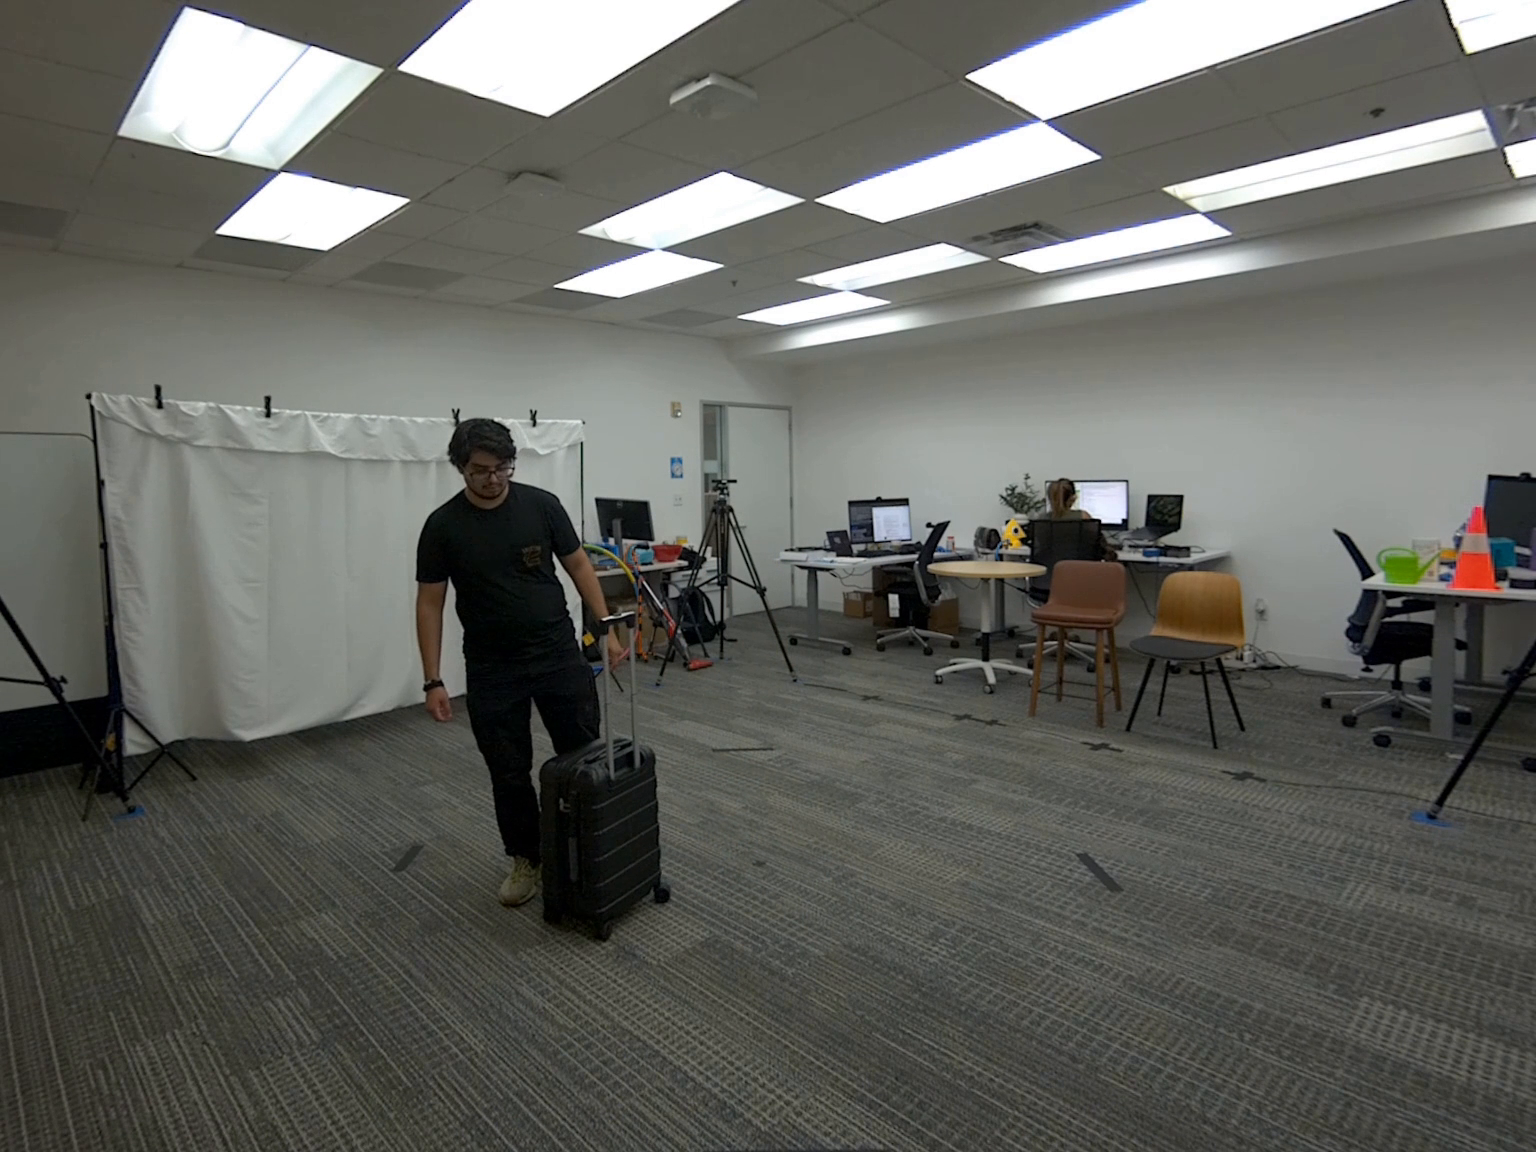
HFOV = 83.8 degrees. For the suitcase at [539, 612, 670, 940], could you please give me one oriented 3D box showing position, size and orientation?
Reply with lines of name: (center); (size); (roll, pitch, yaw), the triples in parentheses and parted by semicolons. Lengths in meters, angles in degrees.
suitcase: (-0.539, 0.623, 2.741); (0.263, 0.975, 0.376); (0, 5, 28)
